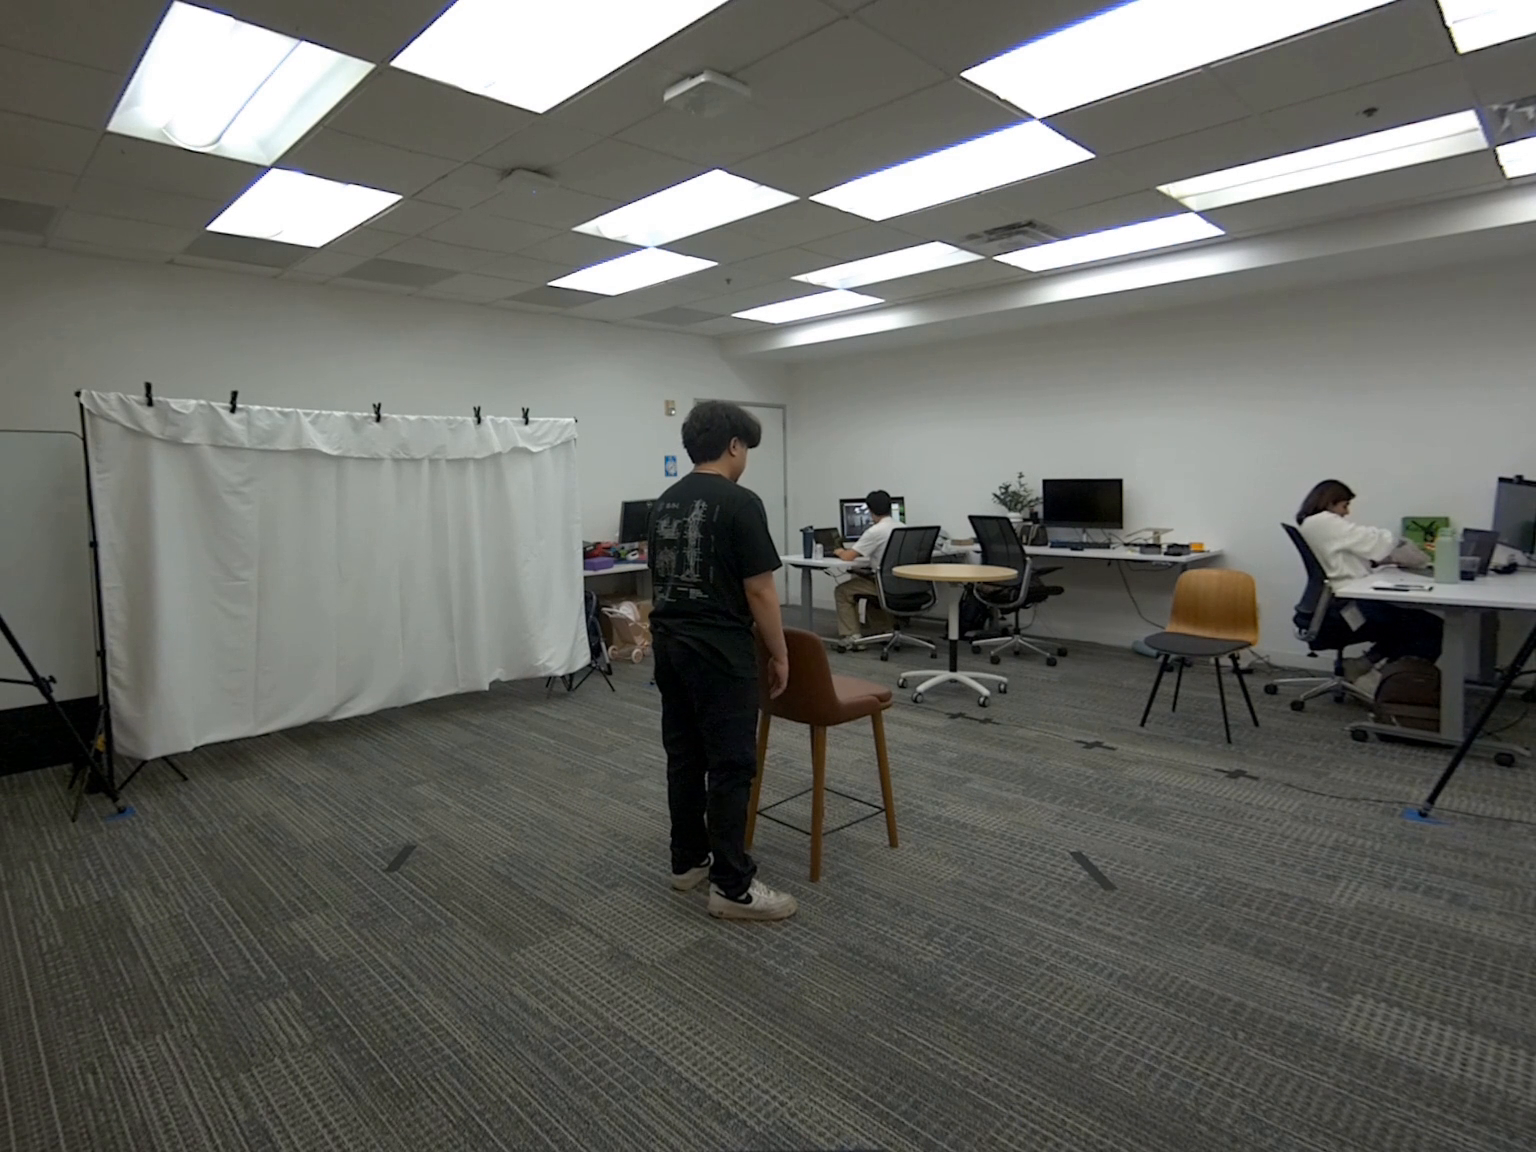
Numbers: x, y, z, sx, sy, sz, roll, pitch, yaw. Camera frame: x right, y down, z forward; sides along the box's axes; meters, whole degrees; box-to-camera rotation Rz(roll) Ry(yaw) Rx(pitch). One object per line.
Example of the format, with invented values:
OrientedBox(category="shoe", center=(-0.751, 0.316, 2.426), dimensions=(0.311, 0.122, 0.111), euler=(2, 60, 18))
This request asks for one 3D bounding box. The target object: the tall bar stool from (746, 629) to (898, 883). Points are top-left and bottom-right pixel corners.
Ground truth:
OrientedBox(category="tall bar stool", center=(0.178, 0.590, 3.200), dimensions=(0.456, 0.885, 0.470), euler=(-7, 7, -42))
